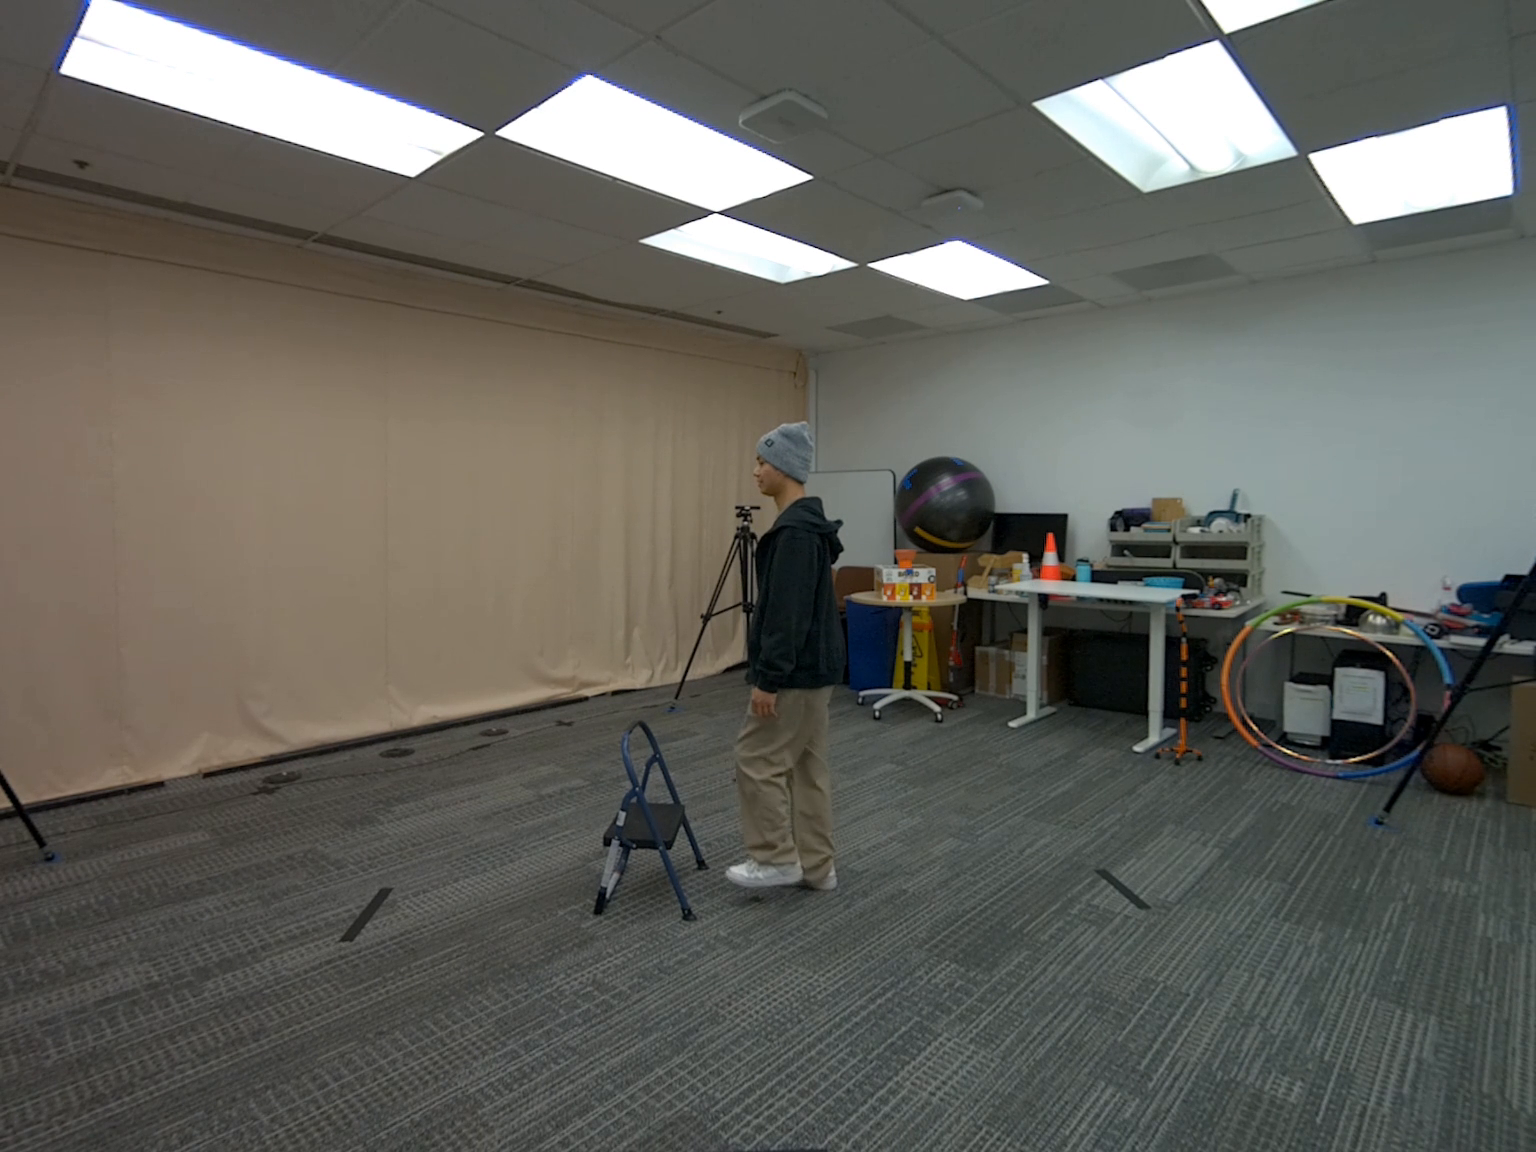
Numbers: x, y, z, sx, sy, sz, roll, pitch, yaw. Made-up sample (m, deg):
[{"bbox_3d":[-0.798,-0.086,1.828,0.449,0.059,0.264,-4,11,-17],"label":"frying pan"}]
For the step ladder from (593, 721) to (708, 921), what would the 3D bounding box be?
[{"bbox_3d":[-0.414,0.843,3.046,0.351,0.605,0.430,0,3,3],"label":"step ladder"}]
